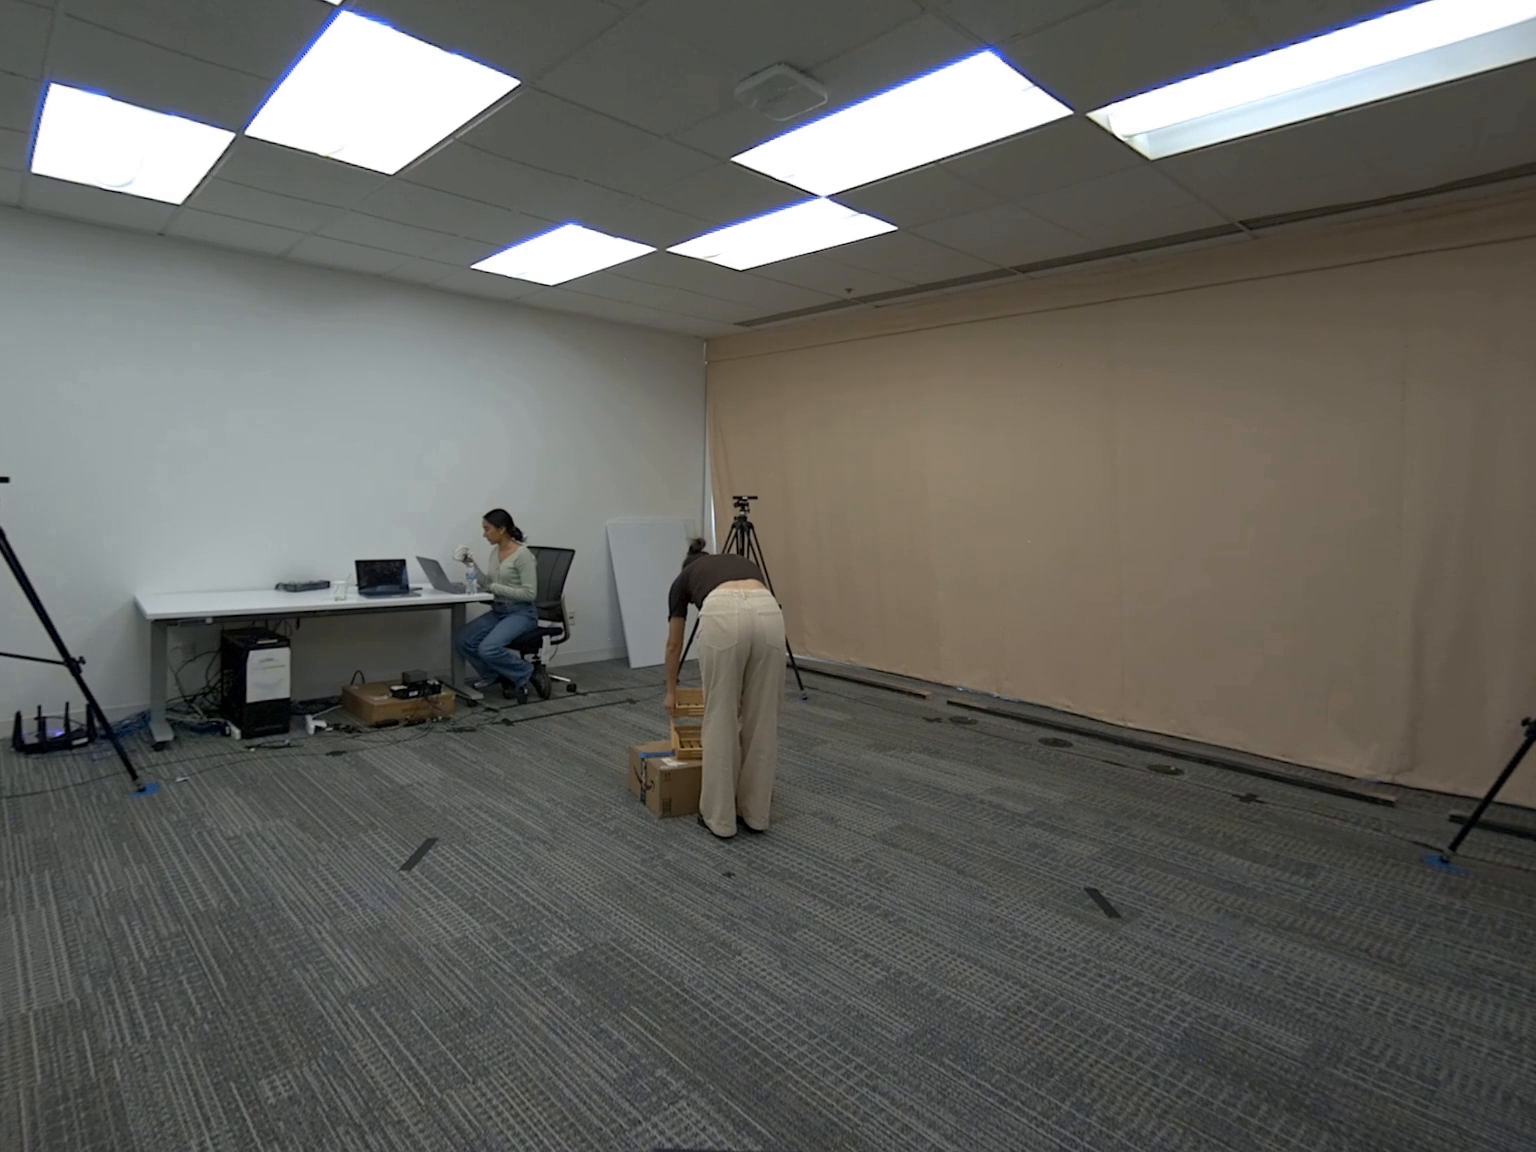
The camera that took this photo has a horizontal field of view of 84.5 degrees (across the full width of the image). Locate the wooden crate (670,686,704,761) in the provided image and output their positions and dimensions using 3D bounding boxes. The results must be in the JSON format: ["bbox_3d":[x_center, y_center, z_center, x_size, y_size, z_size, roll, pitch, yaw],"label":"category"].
[{"bbox_3d":[-0.296,0.676,3.919,0.321,0.273,0.305,2,3,-13],"label":"wooden crate"}]
